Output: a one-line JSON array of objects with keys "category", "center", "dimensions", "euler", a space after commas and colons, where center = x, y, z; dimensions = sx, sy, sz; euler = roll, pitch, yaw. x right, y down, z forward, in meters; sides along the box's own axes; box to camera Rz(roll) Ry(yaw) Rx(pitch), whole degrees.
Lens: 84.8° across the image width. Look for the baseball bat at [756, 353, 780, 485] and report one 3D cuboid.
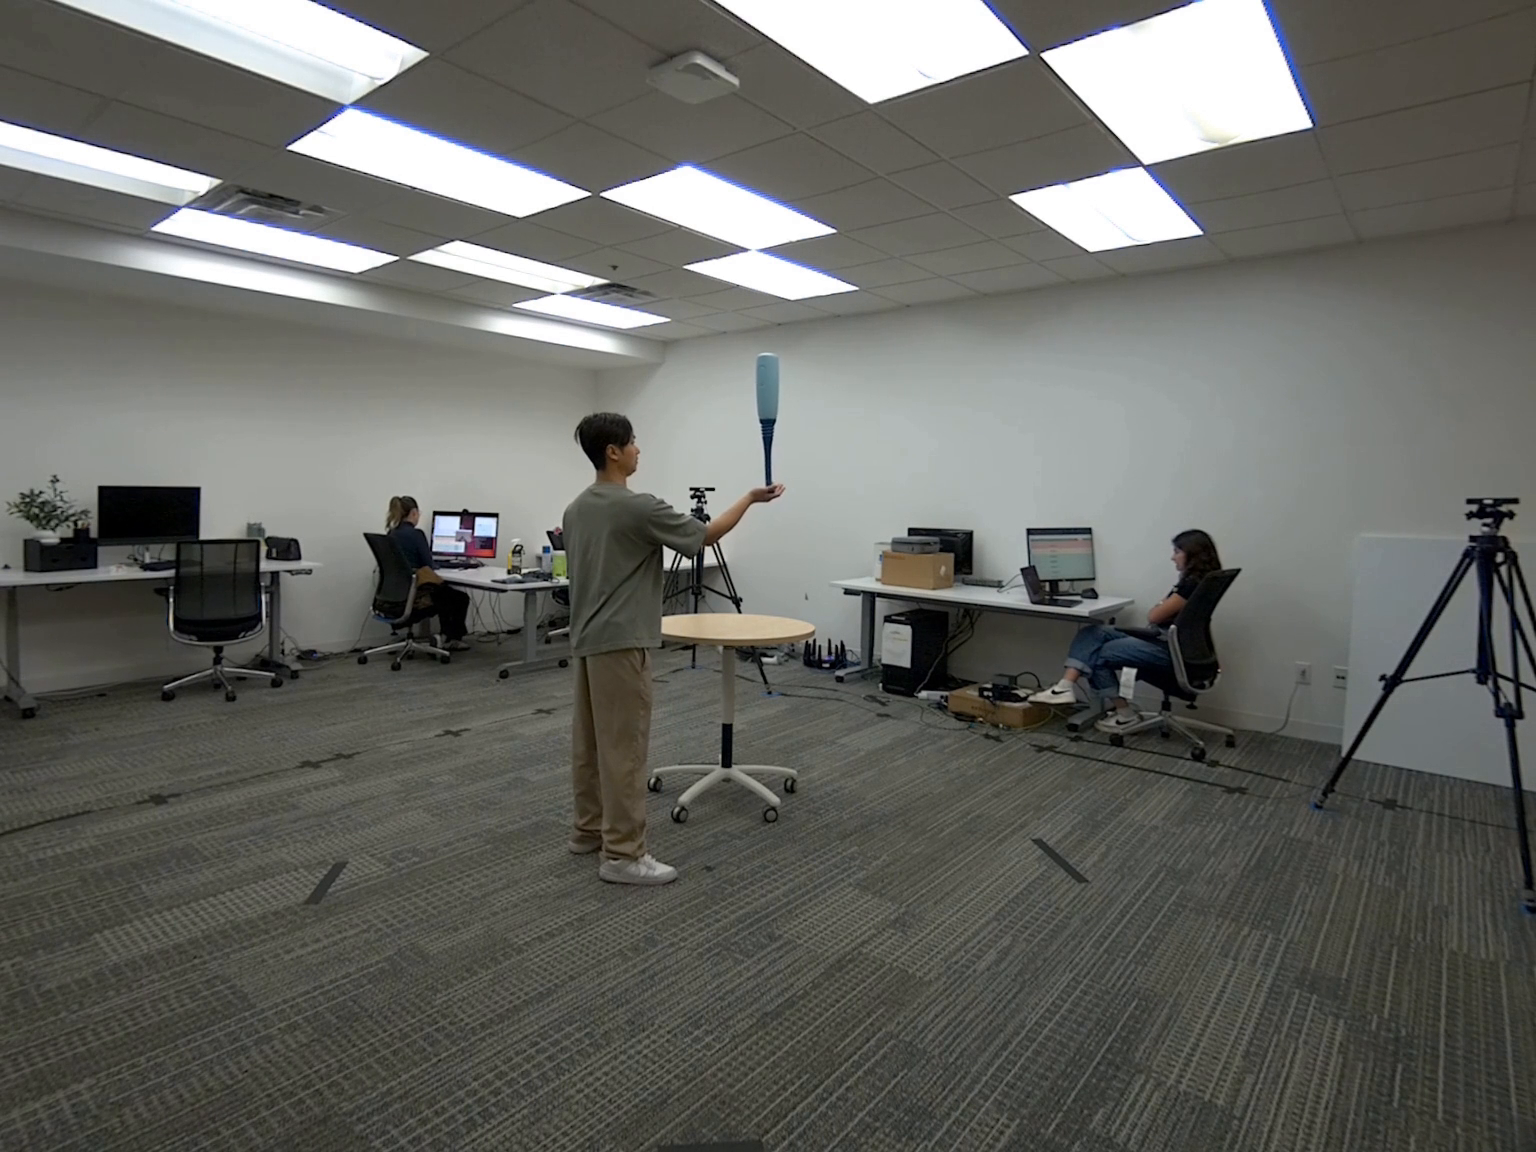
[{"category": "baseball bat", "center": [-0.015, -0.602, 3.318], "dimensions": [0.089, 0.541, 0.089], "euler": [0, 3, -2]}]
